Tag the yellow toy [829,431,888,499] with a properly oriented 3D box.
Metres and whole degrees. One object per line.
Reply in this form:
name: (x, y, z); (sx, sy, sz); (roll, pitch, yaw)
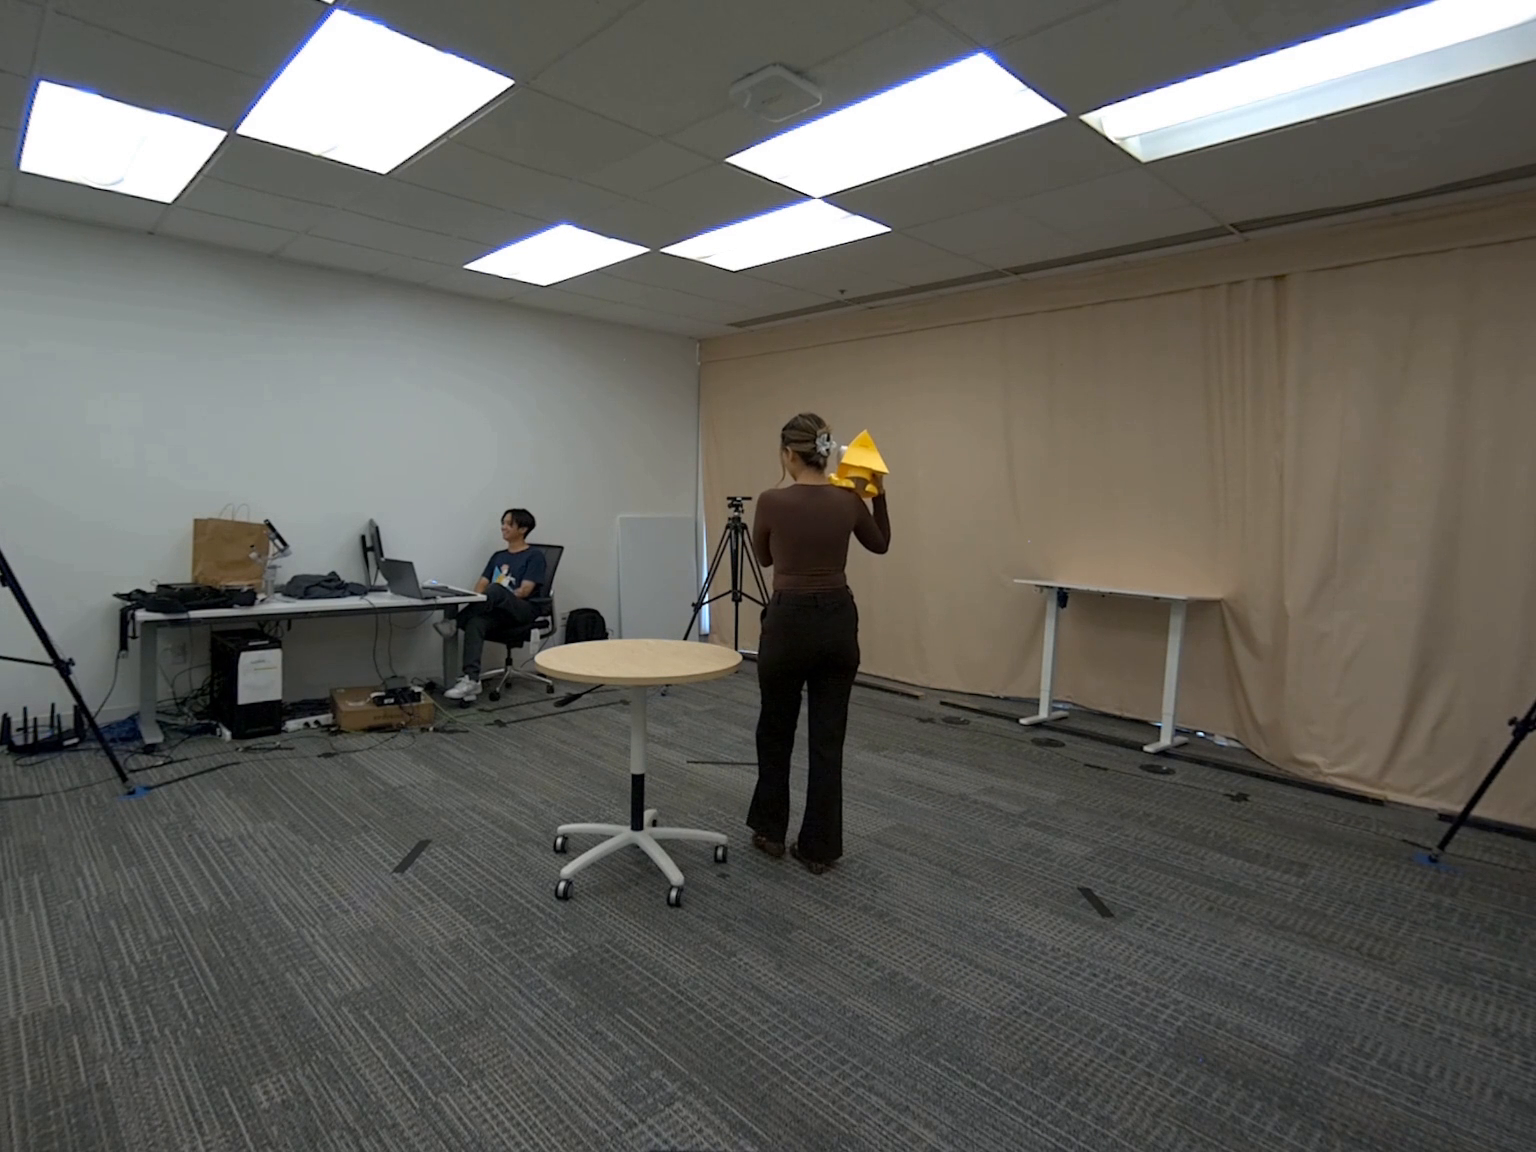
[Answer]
yellow toy: (0.318, -0.430, 3.192); (0.201, 0.232, 0.196); (9, -8, -23)
